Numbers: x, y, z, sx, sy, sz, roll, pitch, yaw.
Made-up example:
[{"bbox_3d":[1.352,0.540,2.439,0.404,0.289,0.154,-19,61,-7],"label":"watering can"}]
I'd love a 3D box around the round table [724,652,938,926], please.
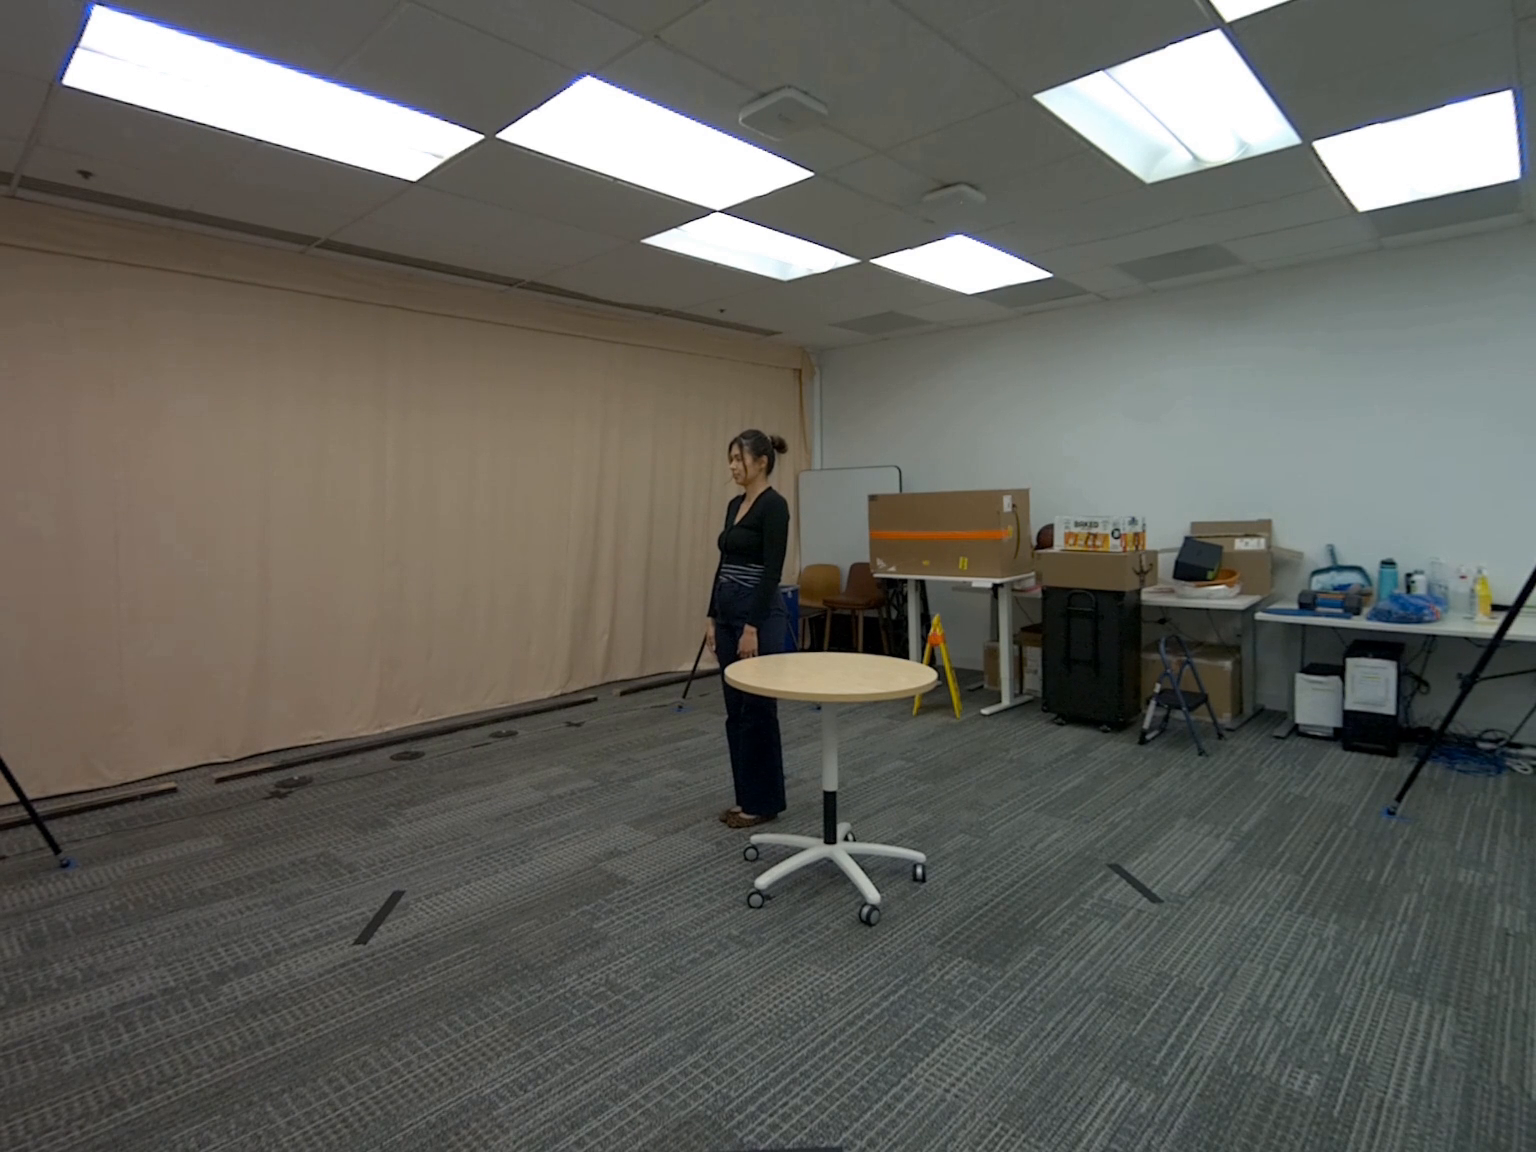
[{"bbox_3d":[0.235,0.739,3.088,0.763,0.792,0.766,-1,4,-2],"label":"round table"}]
